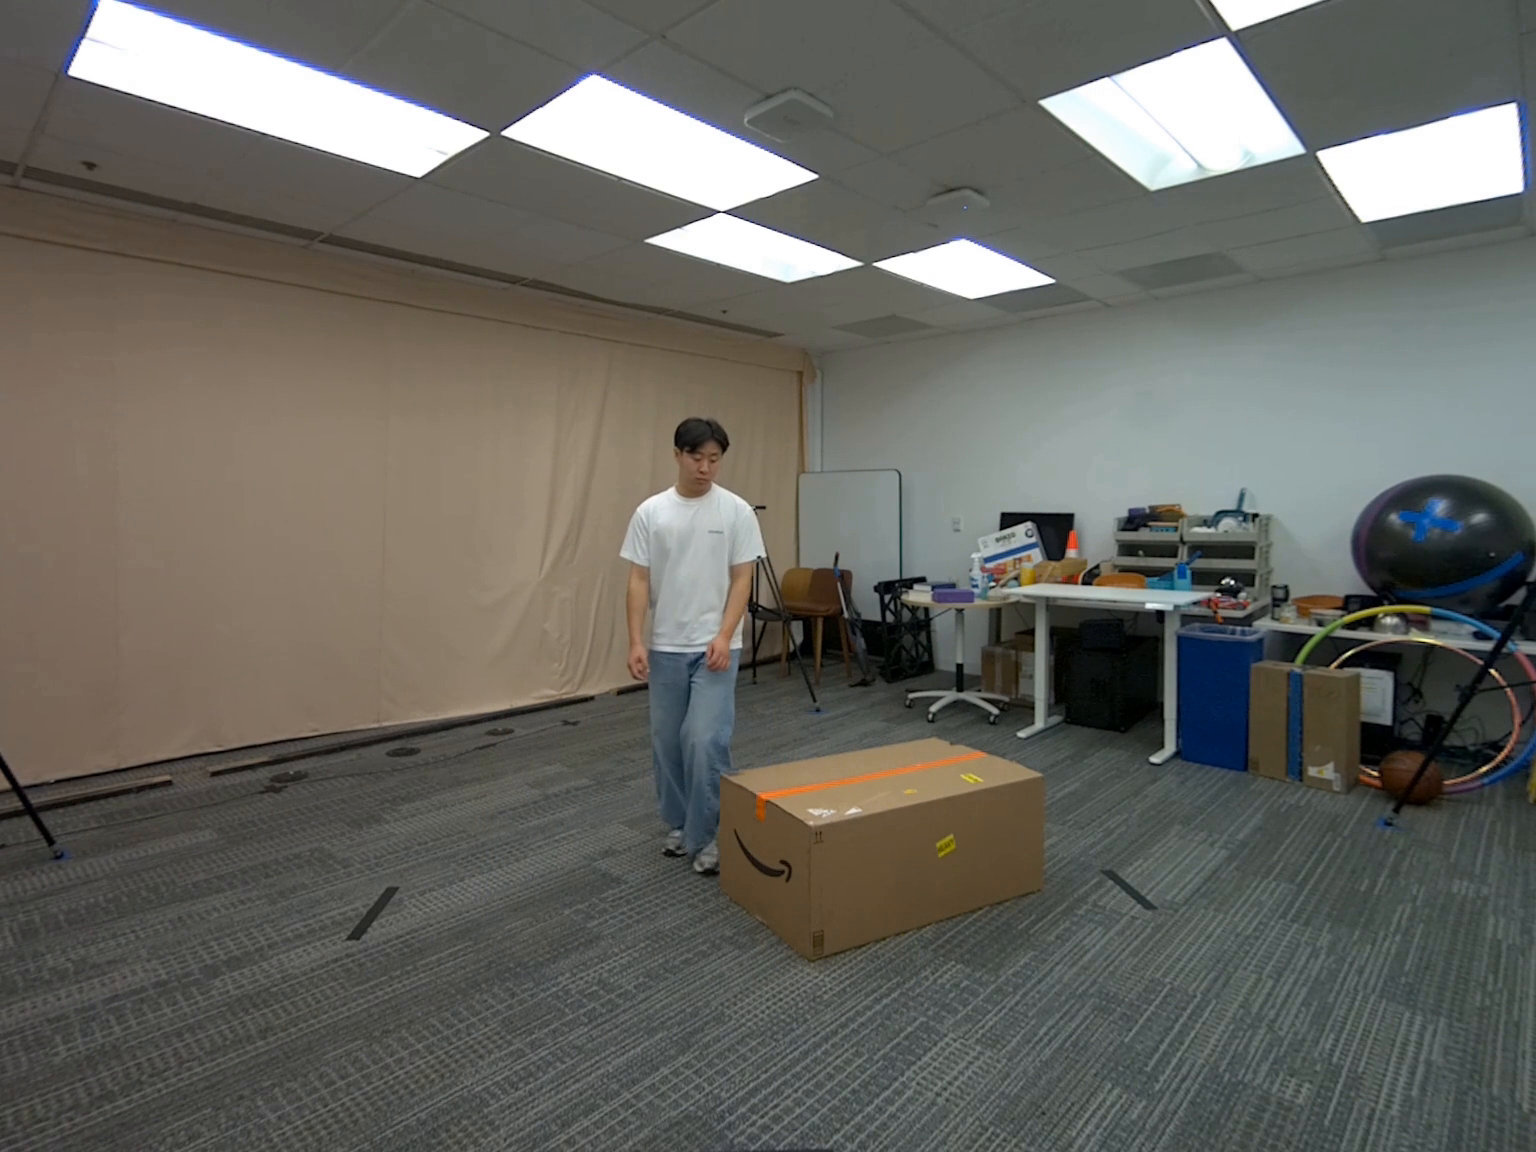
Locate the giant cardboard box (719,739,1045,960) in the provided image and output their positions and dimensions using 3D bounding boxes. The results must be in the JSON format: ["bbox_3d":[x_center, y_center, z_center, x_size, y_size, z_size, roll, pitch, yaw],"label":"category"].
[{"bbox_3d":[0.415,0.923,3.040,0.999,0.425,0.594,-3,5,-30],"label":"giant cardboard box"}]
